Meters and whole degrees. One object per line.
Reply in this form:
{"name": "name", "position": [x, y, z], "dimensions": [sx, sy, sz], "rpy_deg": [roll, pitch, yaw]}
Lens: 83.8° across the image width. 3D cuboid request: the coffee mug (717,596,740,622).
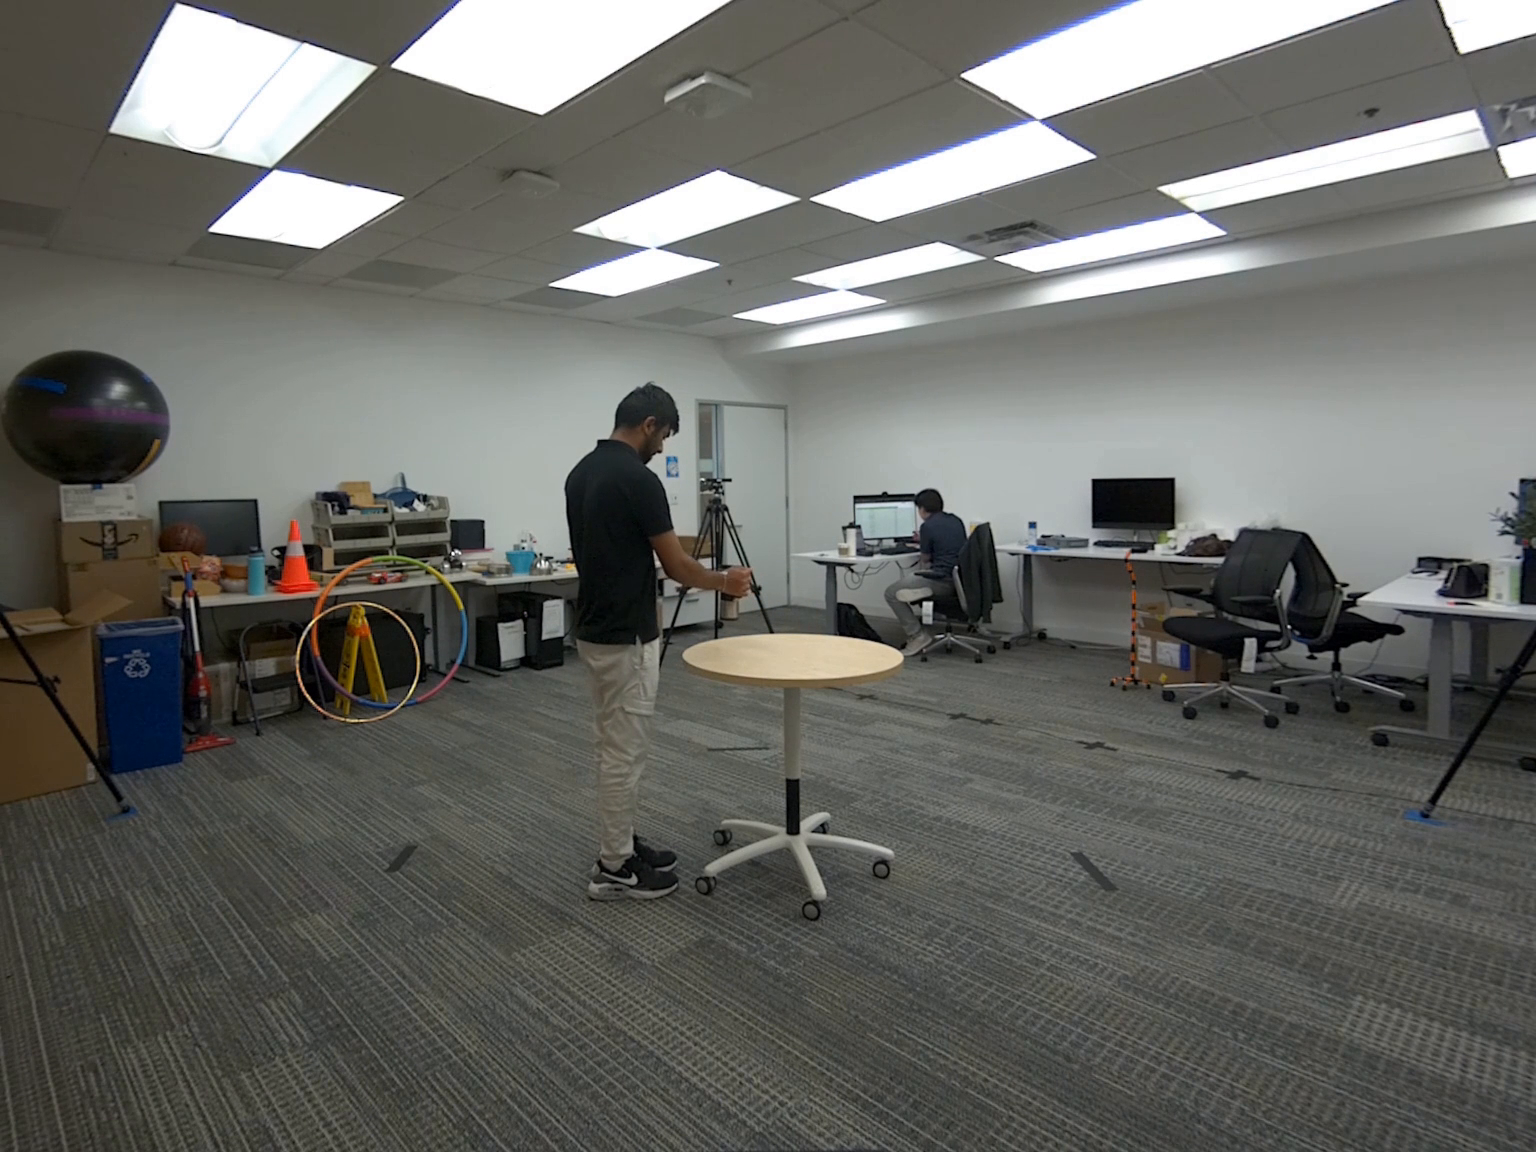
{"name": "coffee mug", "position": [-0.148, 0.065, 3.080], "dimensions": [0.090, 0.202, 0.119], "rpy_deg": [8, 5, 29]}
